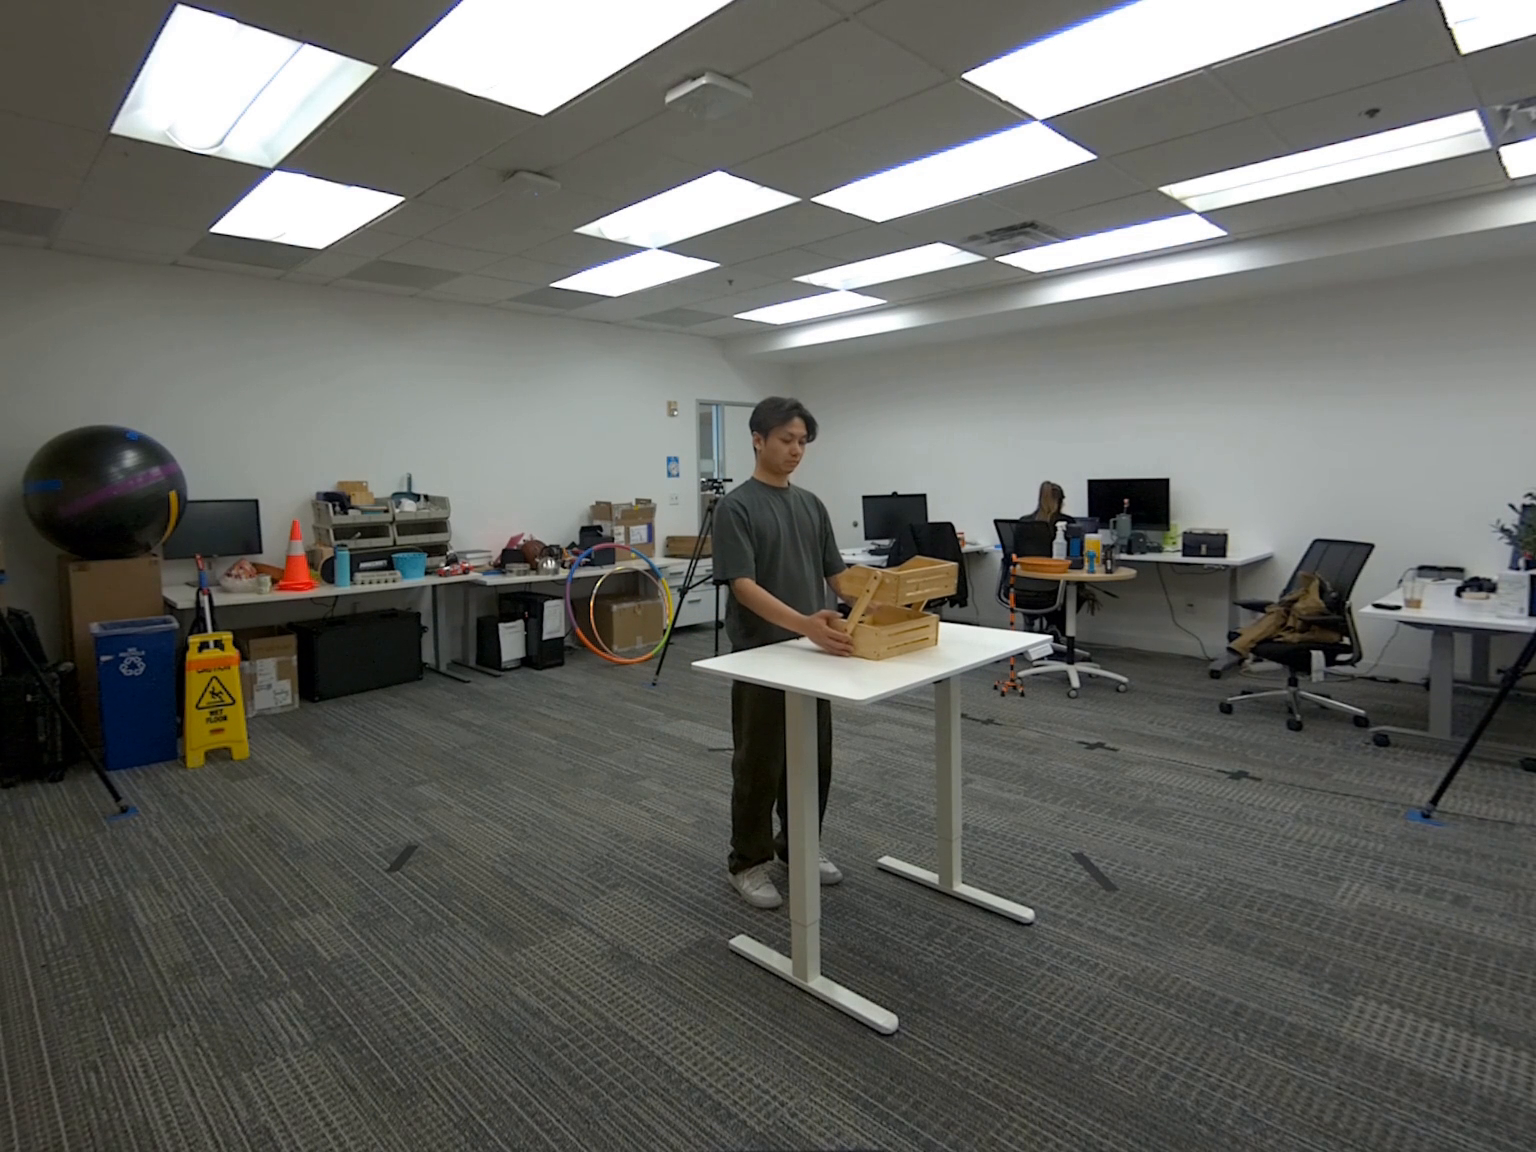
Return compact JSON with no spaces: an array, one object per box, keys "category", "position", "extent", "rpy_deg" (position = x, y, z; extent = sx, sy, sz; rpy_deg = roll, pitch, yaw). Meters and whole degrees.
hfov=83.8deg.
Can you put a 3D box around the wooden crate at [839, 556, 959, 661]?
[{"category":"wooden crate","position":[0.352,0.079,2.547],"extent":[0.316,0.271,0.312],"rpy_deg":[-7,14,-44]}]
